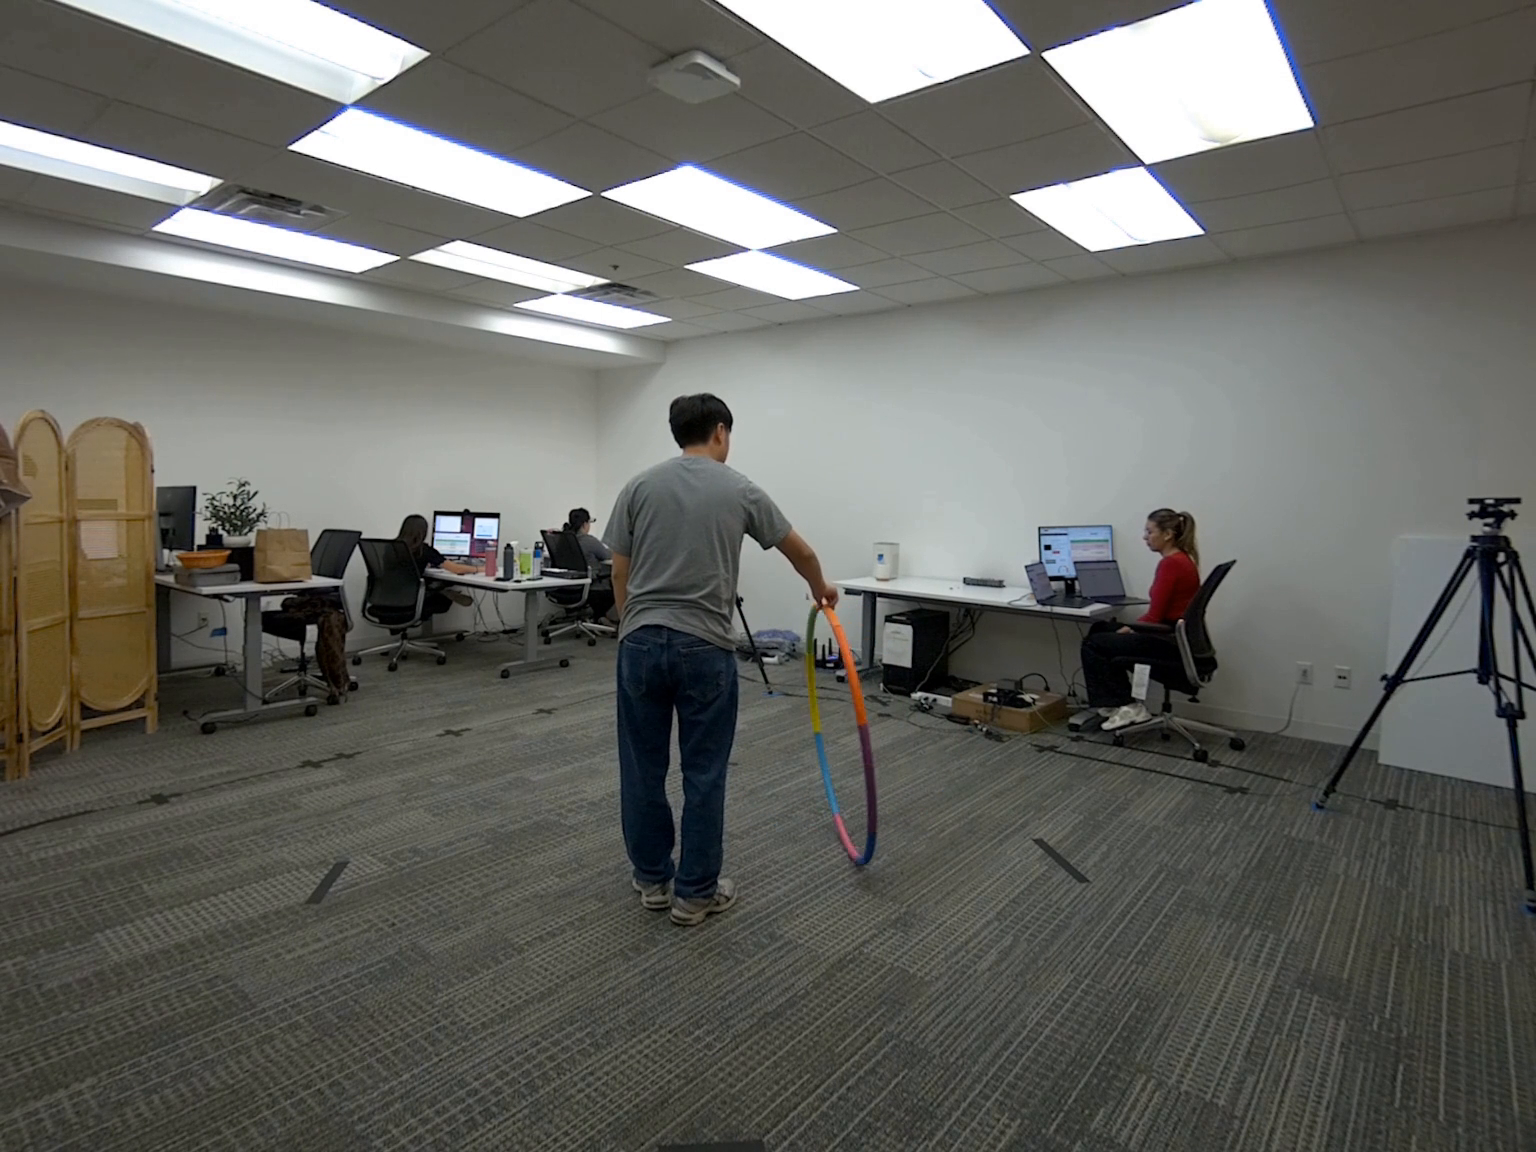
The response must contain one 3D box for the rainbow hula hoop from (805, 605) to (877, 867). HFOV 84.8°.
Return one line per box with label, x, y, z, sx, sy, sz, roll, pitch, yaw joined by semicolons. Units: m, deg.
rainbow hula hoop;0.252;0.582;3.242;0.035;0.974;0.988;-9;5;-7
